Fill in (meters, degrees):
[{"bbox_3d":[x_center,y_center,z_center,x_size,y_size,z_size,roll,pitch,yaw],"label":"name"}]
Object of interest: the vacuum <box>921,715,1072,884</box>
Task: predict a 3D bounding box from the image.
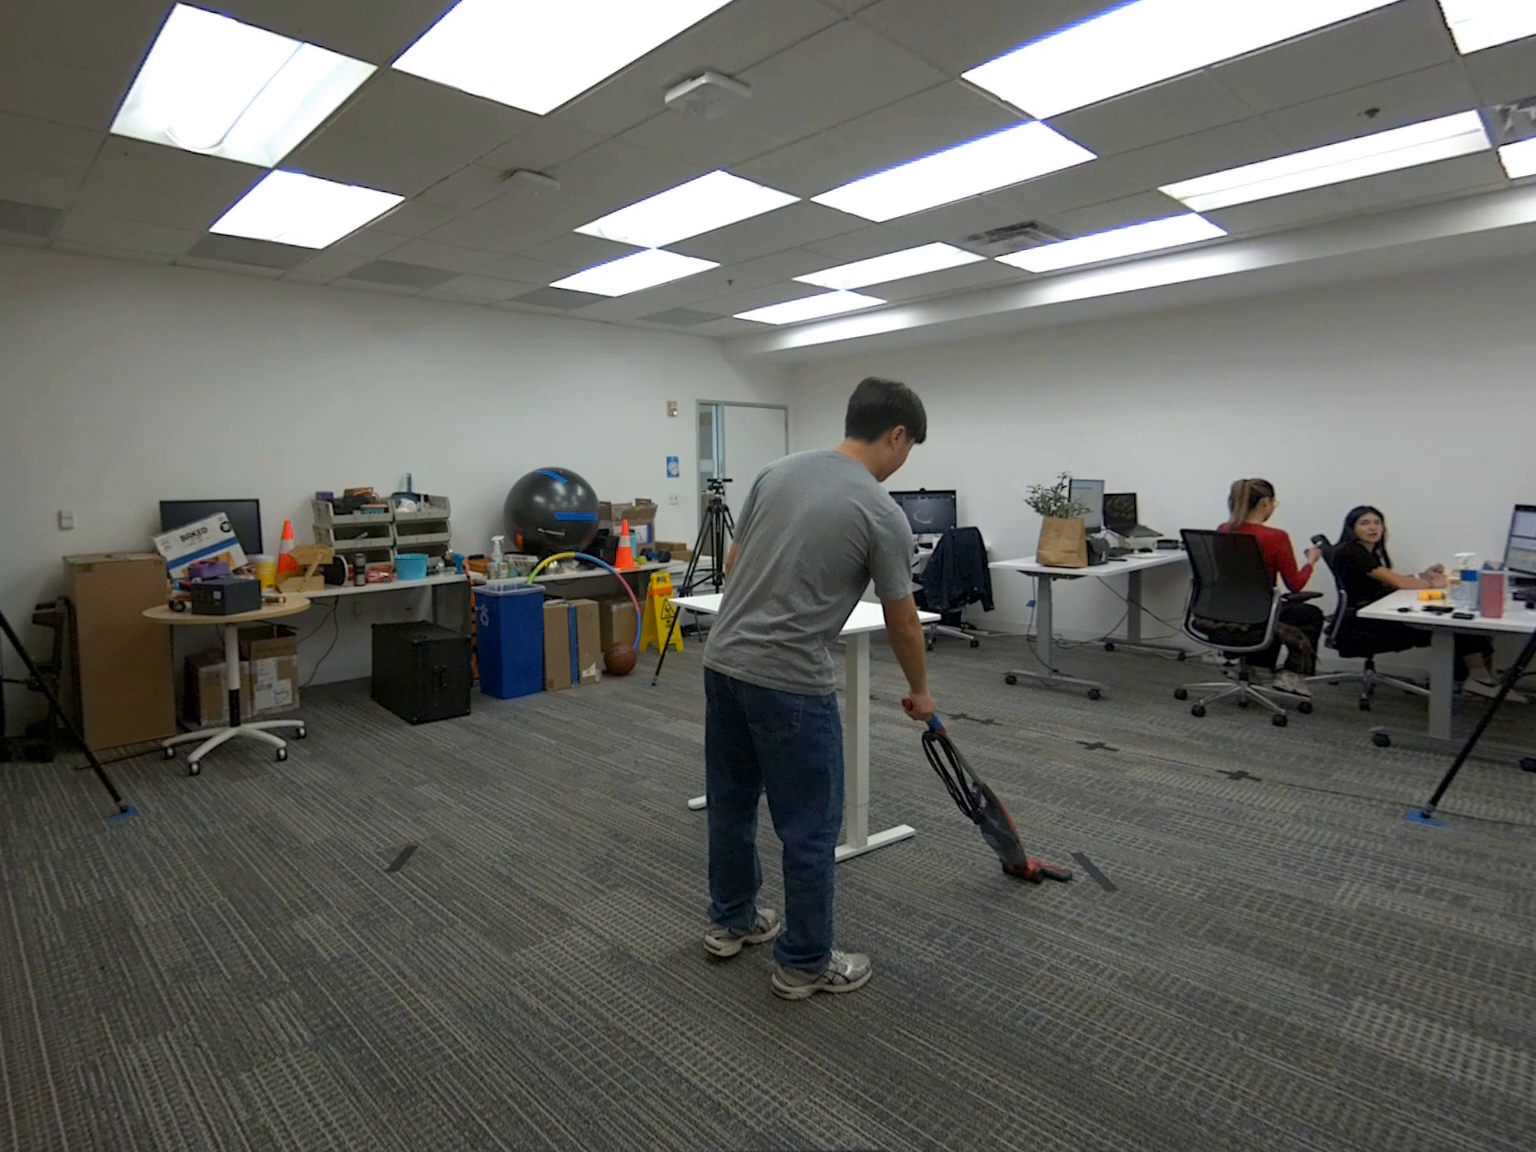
[{"bbox_3d":[0.655,0.695,2.708,0.259,0.145,1.011,-2,-42,40],"label":"vacuum"}]
